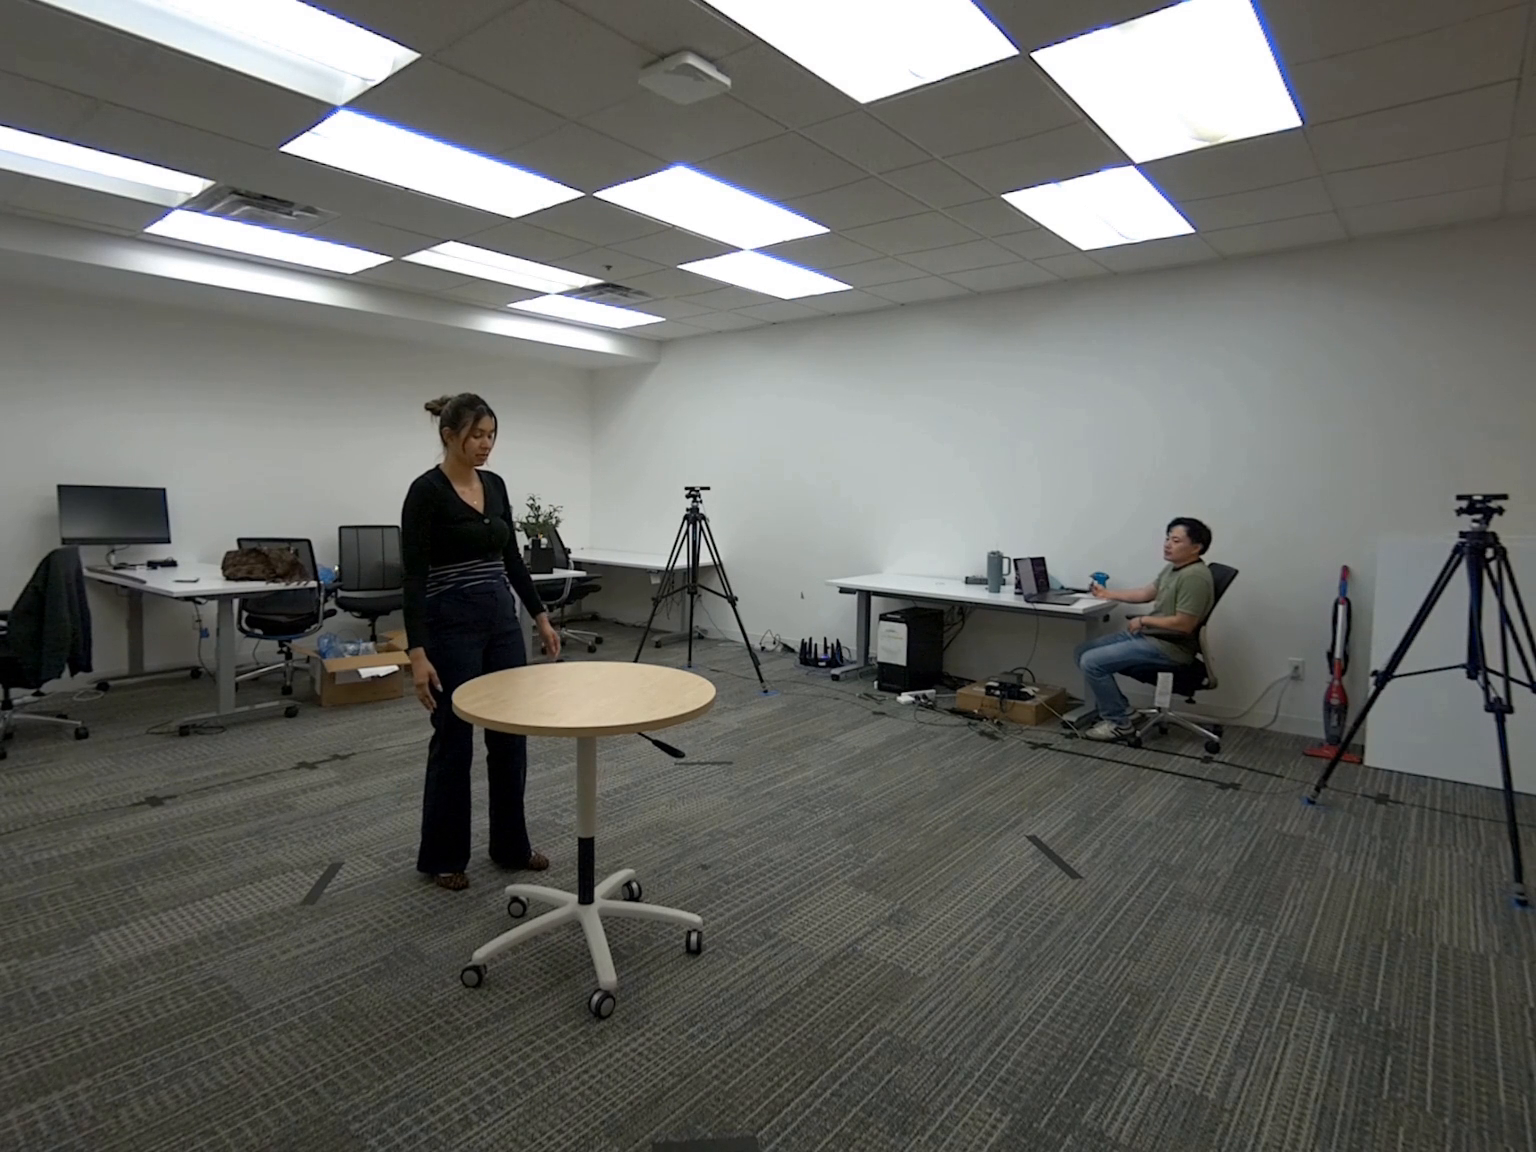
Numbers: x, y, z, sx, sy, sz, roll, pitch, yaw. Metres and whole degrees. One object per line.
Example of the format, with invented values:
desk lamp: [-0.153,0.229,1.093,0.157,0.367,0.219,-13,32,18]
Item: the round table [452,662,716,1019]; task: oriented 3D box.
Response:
round table: [-0.554,0.728,2.544,0.763,0.791,0.768,1,5,-2]
